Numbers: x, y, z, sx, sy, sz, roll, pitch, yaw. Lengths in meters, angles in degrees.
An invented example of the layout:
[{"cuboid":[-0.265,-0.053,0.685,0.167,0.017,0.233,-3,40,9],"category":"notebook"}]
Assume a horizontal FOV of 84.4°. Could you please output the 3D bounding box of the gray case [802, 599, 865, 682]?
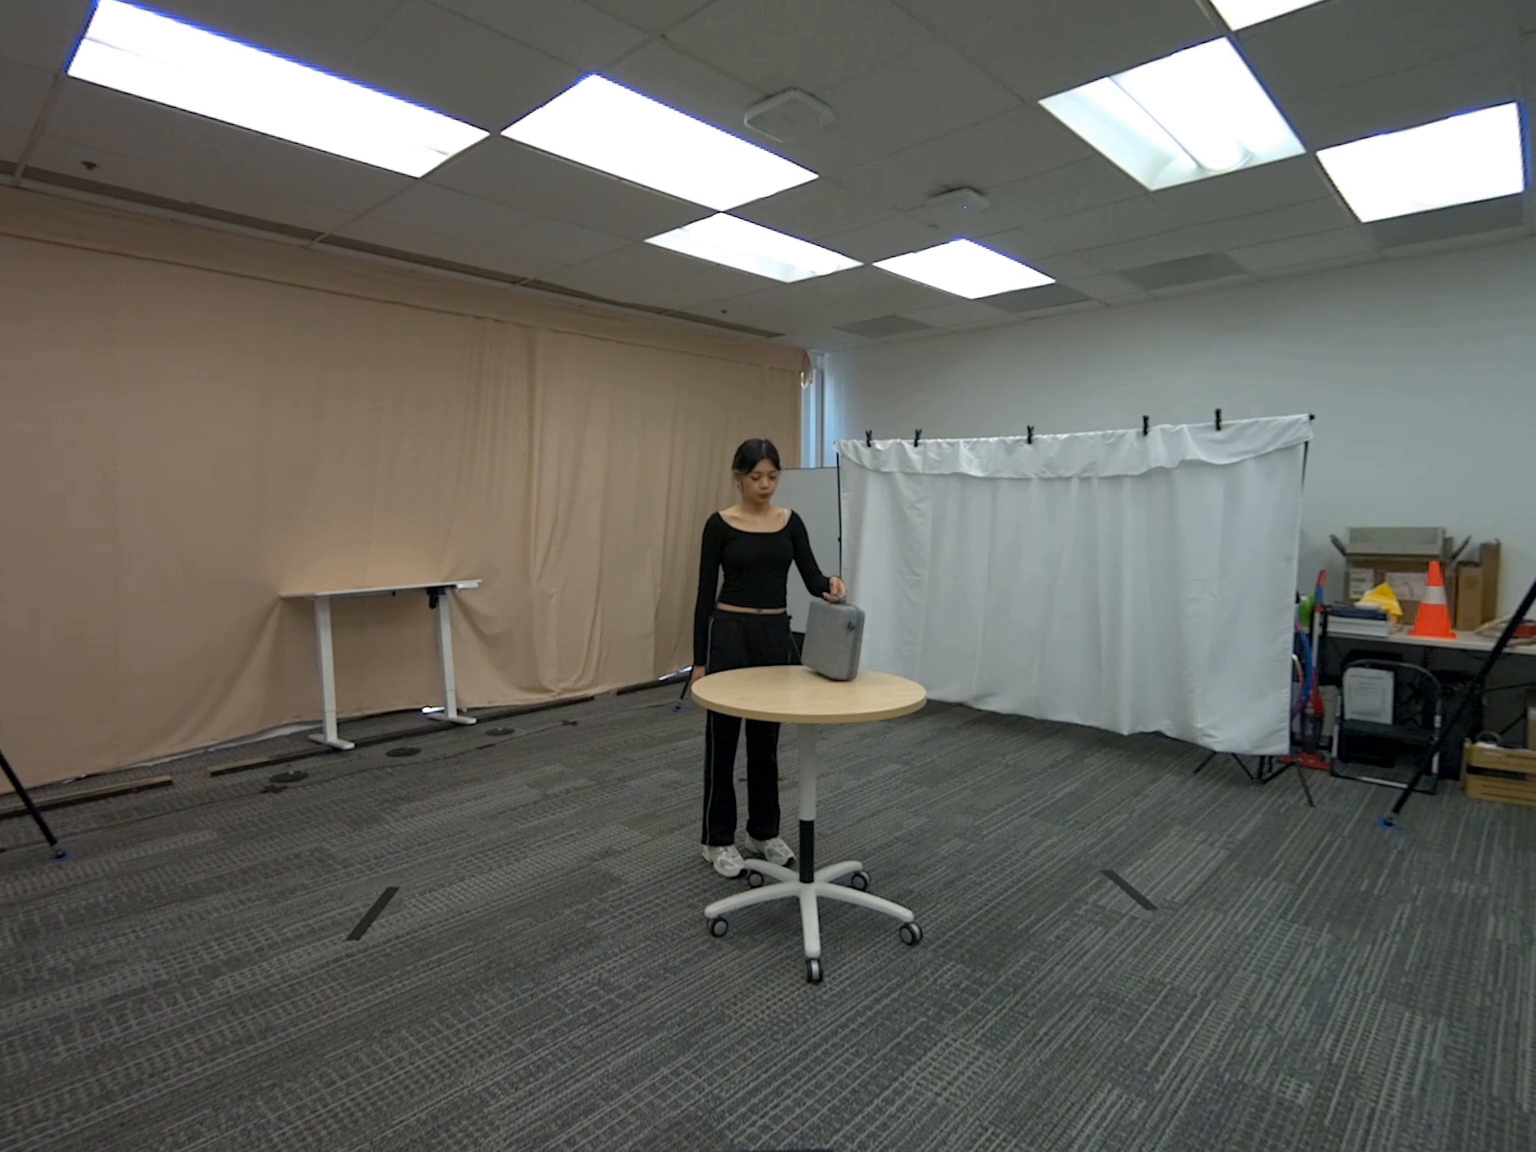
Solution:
[{"cuboid":[0.234,0.217,2.960,0.102,0.260,0.263,8,1,-23],"category":"gray case"}]
